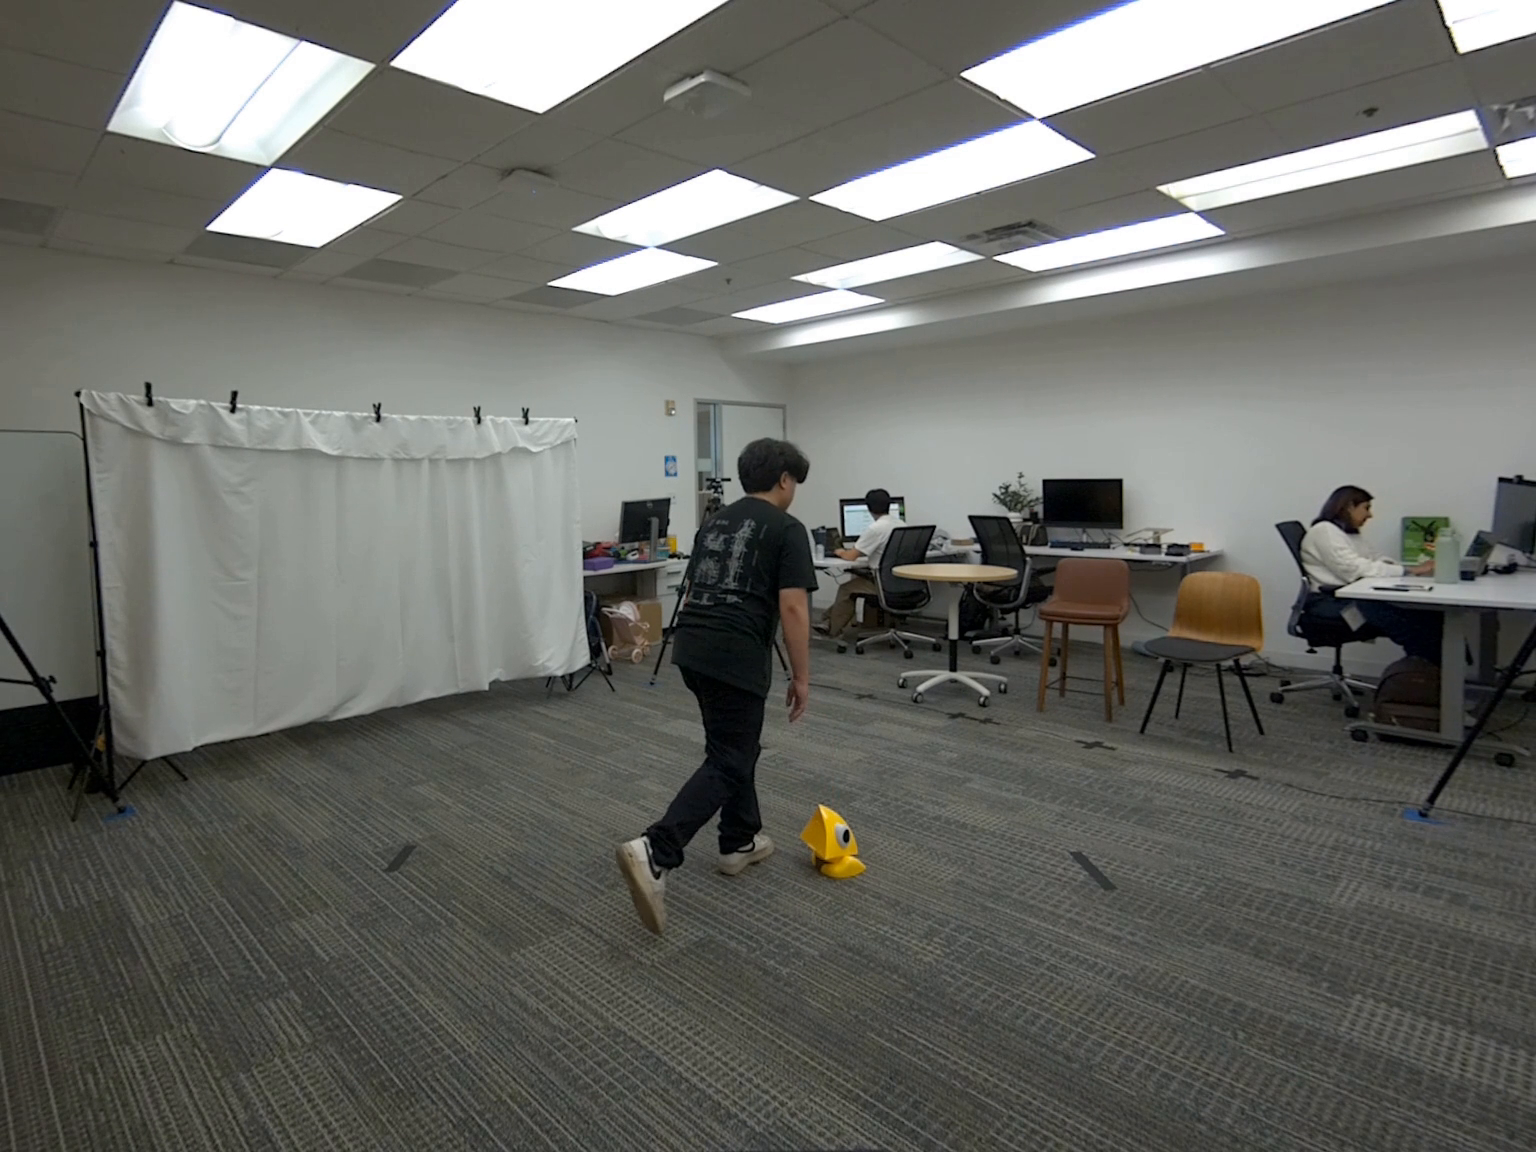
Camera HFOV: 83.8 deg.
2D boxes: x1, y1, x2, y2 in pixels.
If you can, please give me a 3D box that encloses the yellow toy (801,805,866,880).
[{"bbox_3d":[0.238,0.925,3.068,0.189,0.230,0.209,-3,5,-23],"label":"yellow toy"}]
